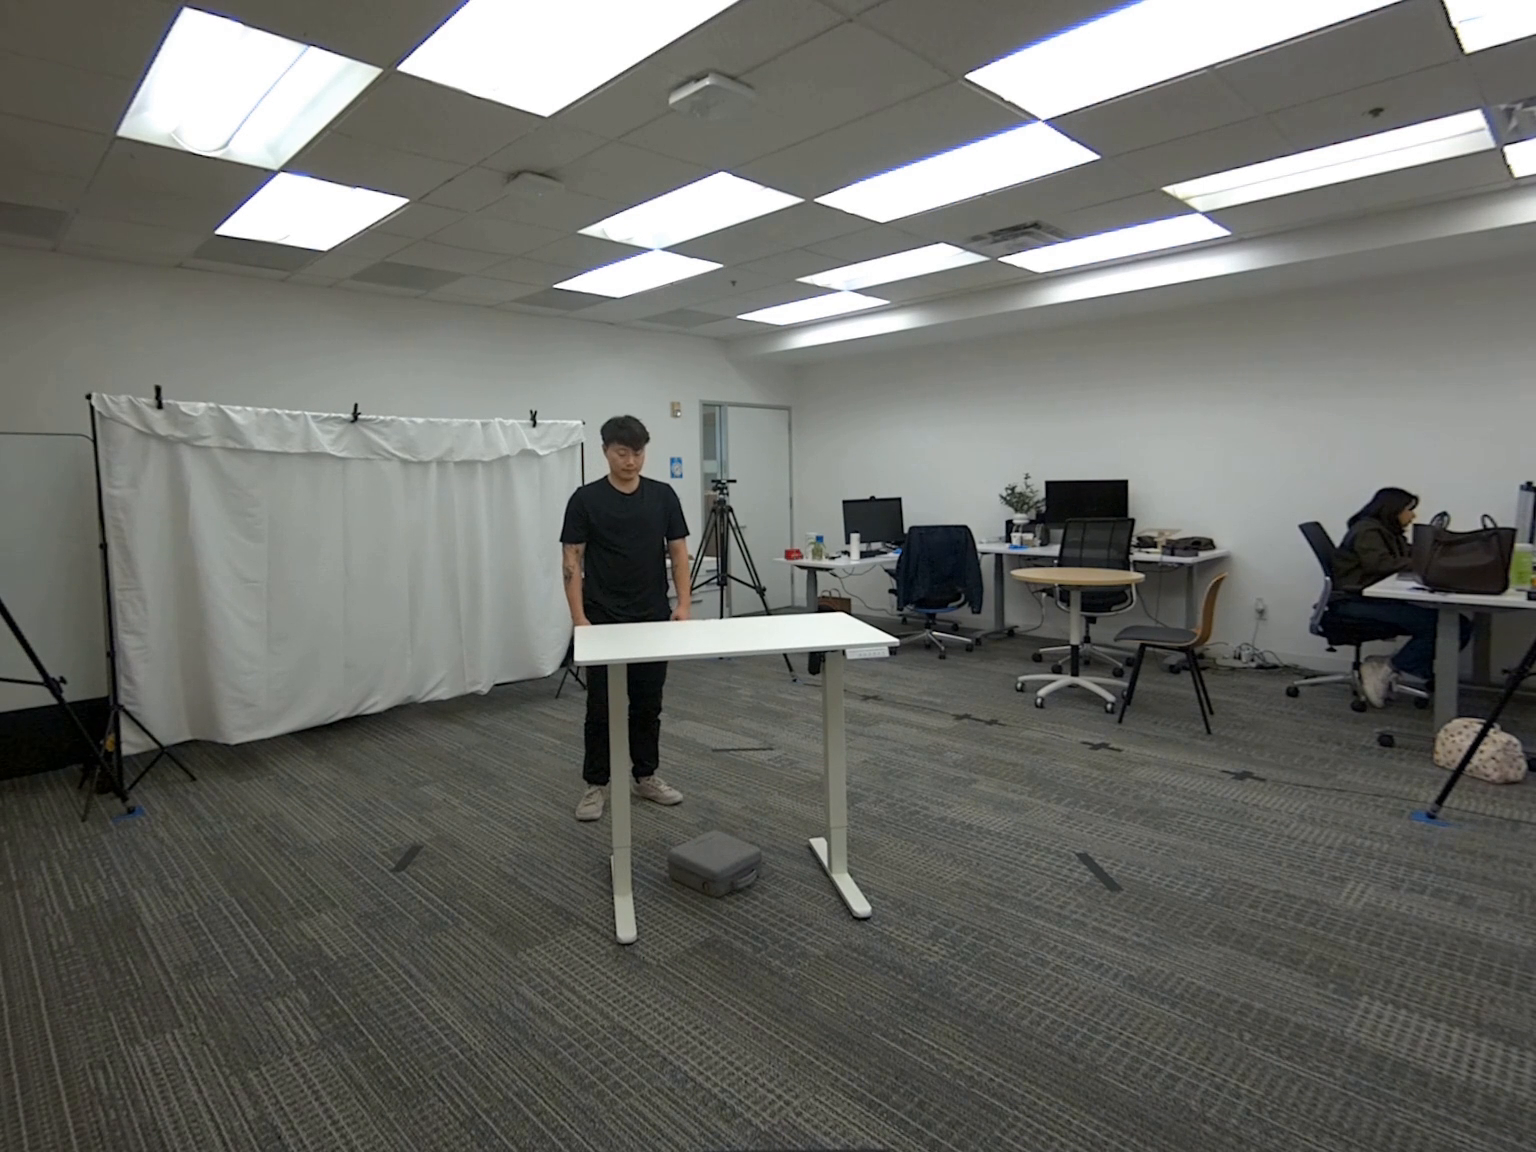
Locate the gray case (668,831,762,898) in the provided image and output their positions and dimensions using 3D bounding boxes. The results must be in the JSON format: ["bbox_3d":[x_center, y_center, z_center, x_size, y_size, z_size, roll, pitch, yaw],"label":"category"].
[{"bbox_3d":[-0.178,1.001,3.004,0.269,0.104,0.250,7,8,42],"label":"gray case"}]
